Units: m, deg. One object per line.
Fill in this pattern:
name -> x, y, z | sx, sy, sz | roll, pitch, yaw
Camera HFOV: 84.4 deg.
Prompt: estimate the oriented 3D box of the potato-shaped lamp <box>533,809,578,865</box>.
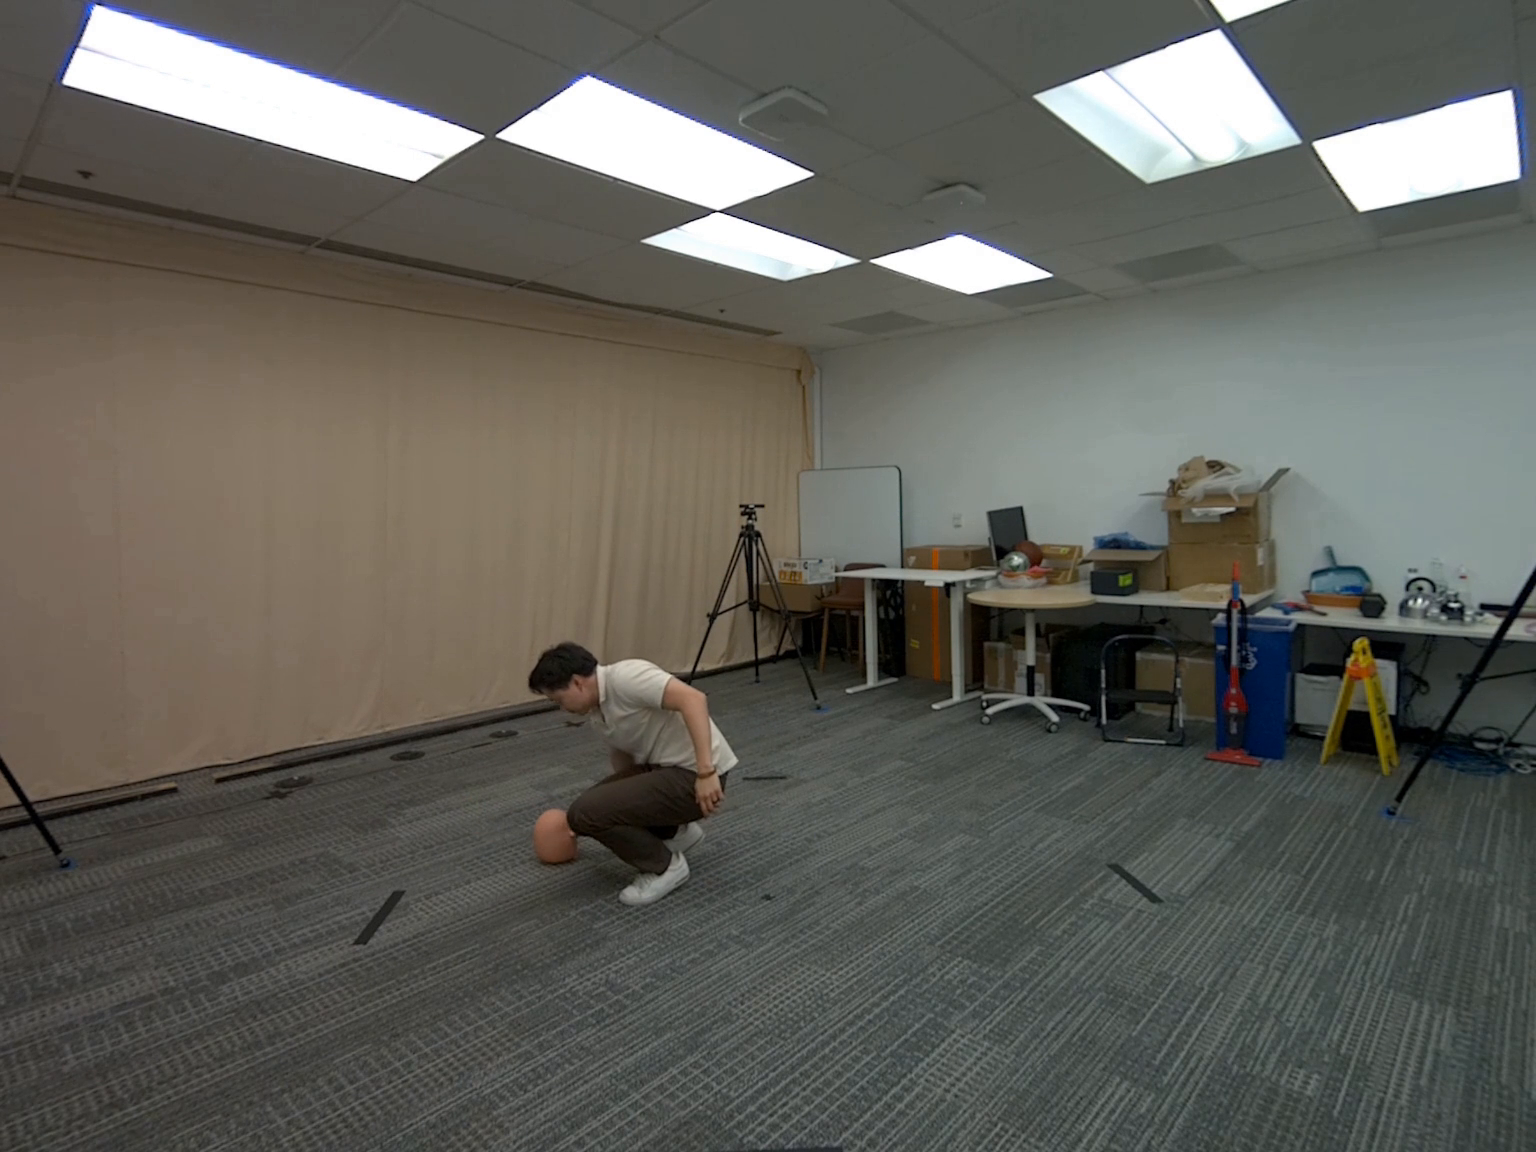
potato-shaped lamp -> -0.849, 1.029, 3.344 | 0.166, 0.197, 0.170 | -8, 11, -38
